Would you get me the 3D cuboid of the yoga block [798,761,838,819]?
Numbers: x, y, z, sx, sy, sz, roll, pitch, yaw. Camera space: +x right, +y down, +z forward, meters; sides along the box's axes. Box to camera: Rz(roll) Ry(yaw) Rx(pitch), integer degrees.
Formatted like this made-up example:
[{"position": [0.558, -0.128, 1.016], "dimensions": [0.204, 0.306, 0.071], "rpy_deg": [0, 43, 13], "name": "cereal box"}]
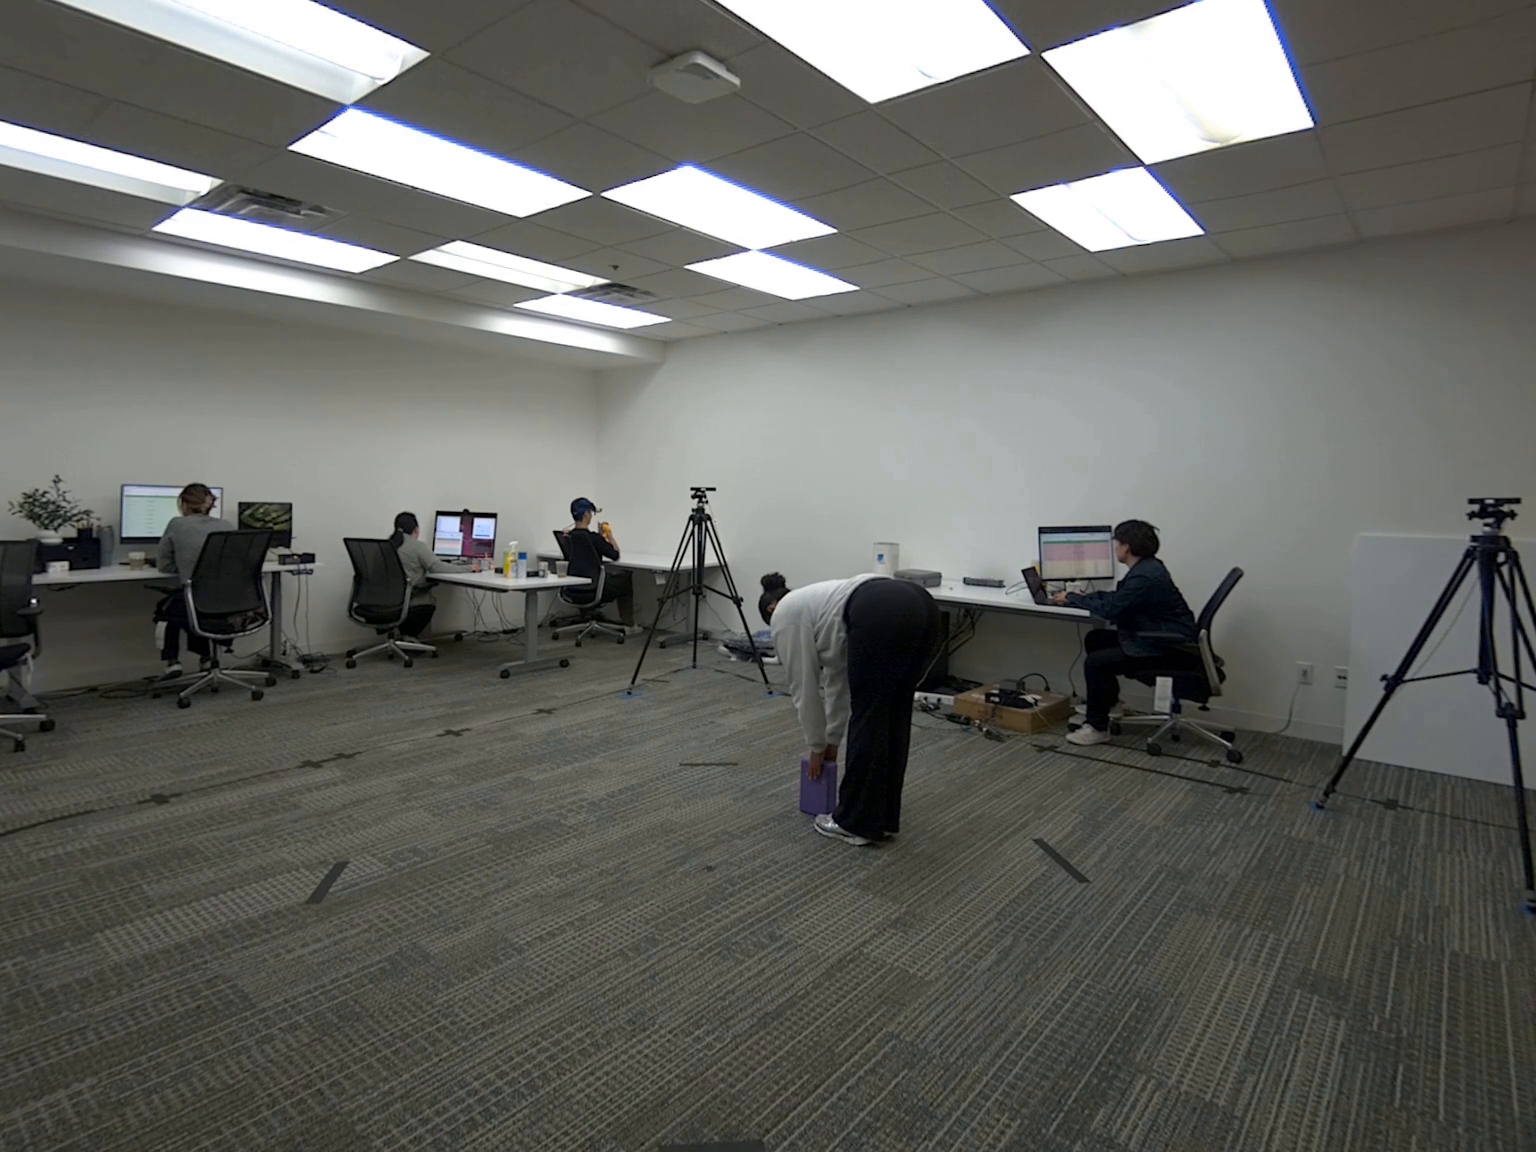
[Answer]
[{"position": [0.206, 0.903, 3.663], "dimensions": [0.154, 0.229, 0.074], "rpy_deg": [2, 3, 38], "name": "yoga block"}]
